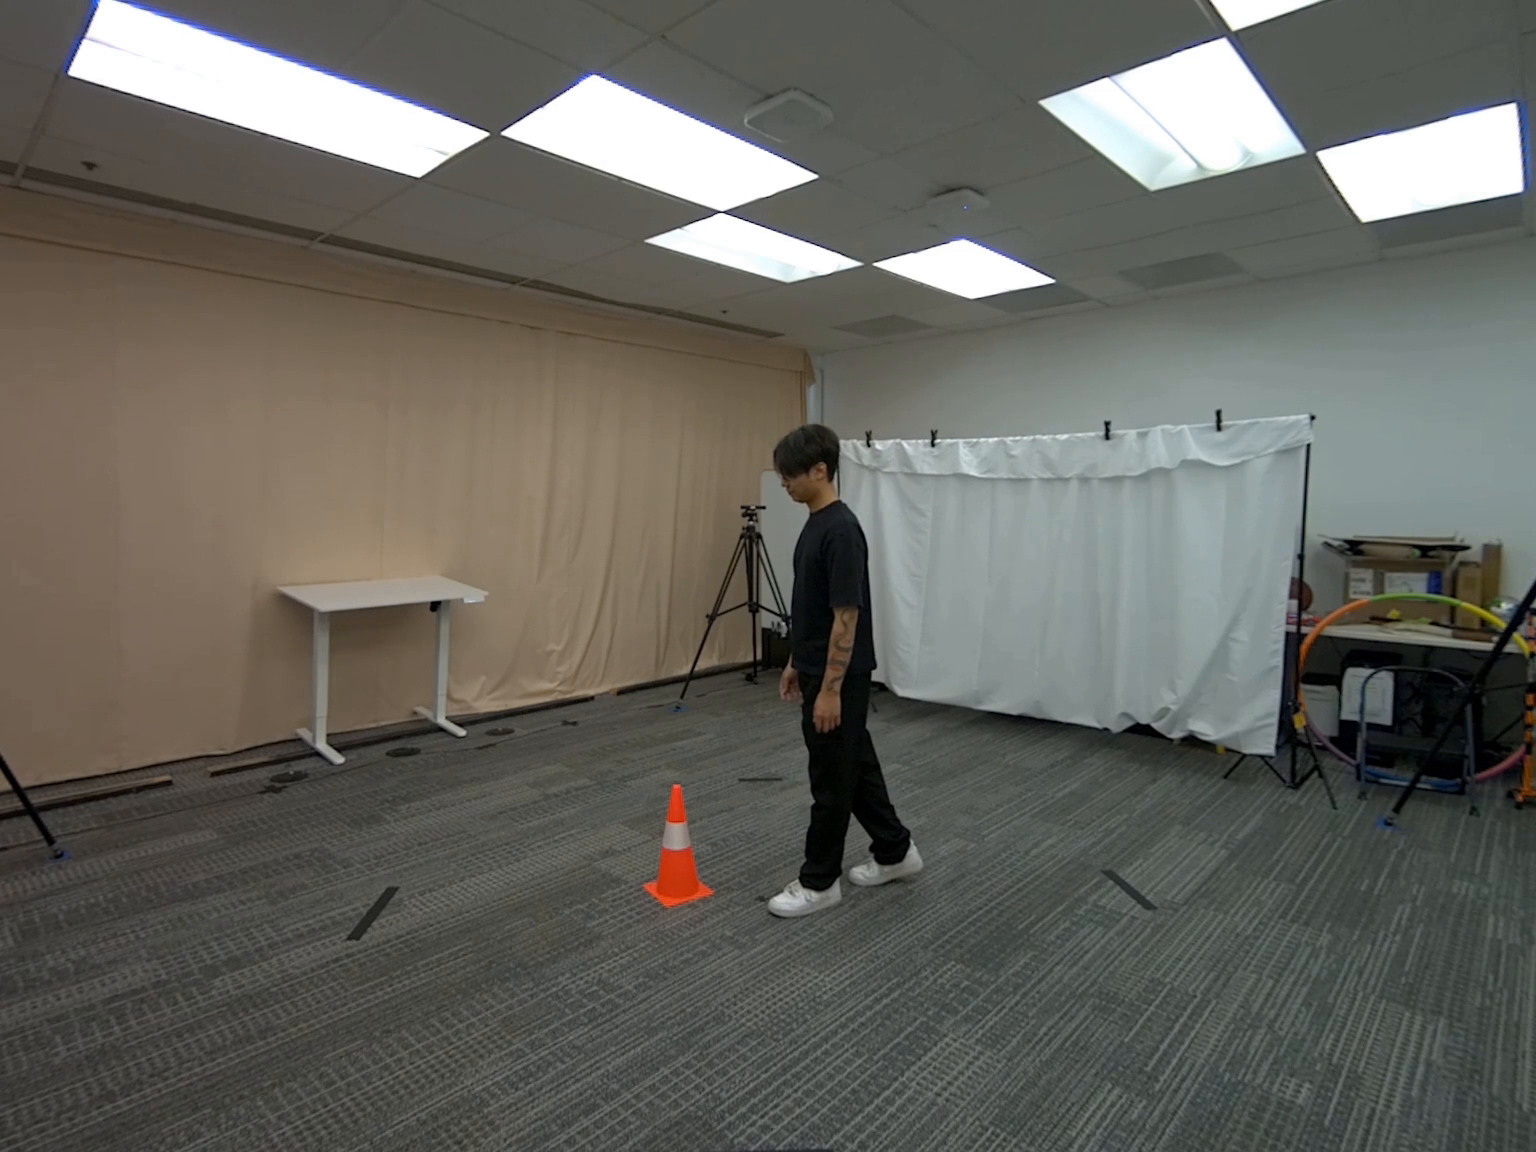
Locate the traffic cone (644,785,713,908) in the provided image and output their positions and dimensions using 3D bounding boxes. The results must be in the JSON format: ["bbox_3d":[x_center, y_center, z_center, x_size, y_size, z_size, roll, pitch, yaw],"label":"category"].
[{"bbox_3d":[-0.330,0.962,3.061,0.197,0.383,0.211,-2,1,-36],"label":"traffic cone"}]
